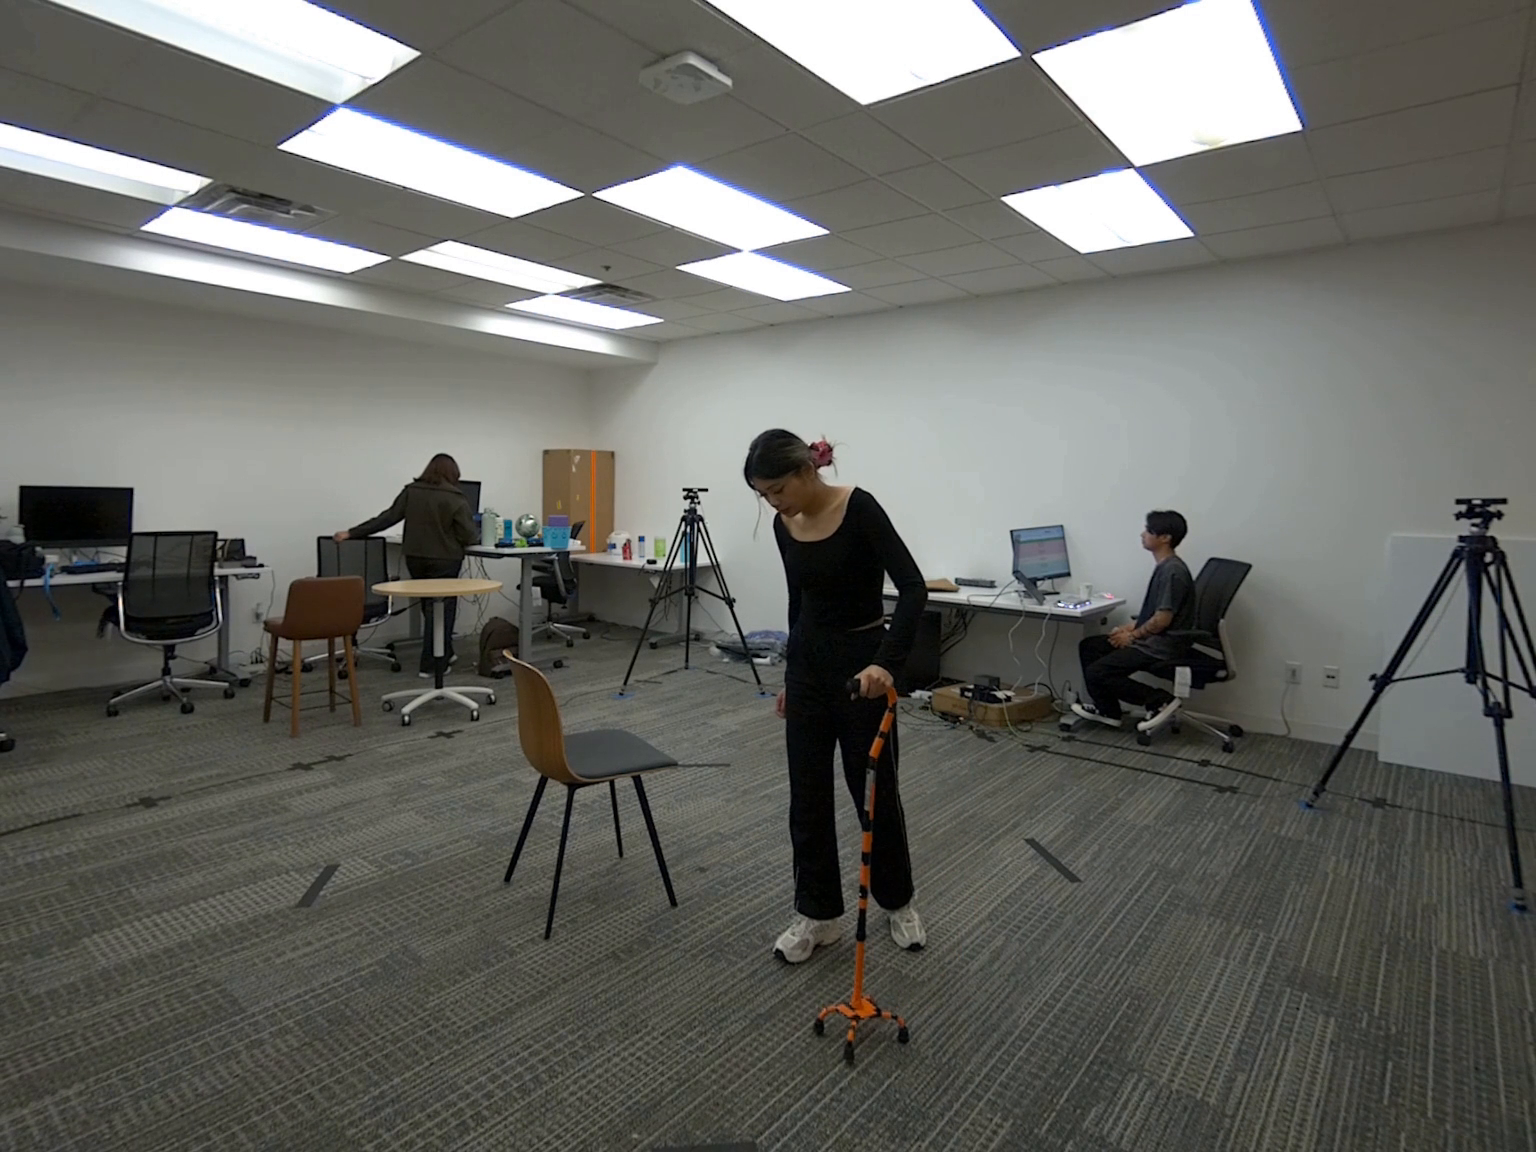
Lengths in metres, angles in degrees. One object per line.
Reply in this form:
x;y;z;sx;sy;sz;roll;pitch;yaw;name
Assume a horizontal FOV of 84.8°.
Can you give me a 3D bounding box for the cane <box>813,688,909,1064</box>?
0.248;0.712;2.166;0.201;0.907;0.156;1;1;-31;cane
